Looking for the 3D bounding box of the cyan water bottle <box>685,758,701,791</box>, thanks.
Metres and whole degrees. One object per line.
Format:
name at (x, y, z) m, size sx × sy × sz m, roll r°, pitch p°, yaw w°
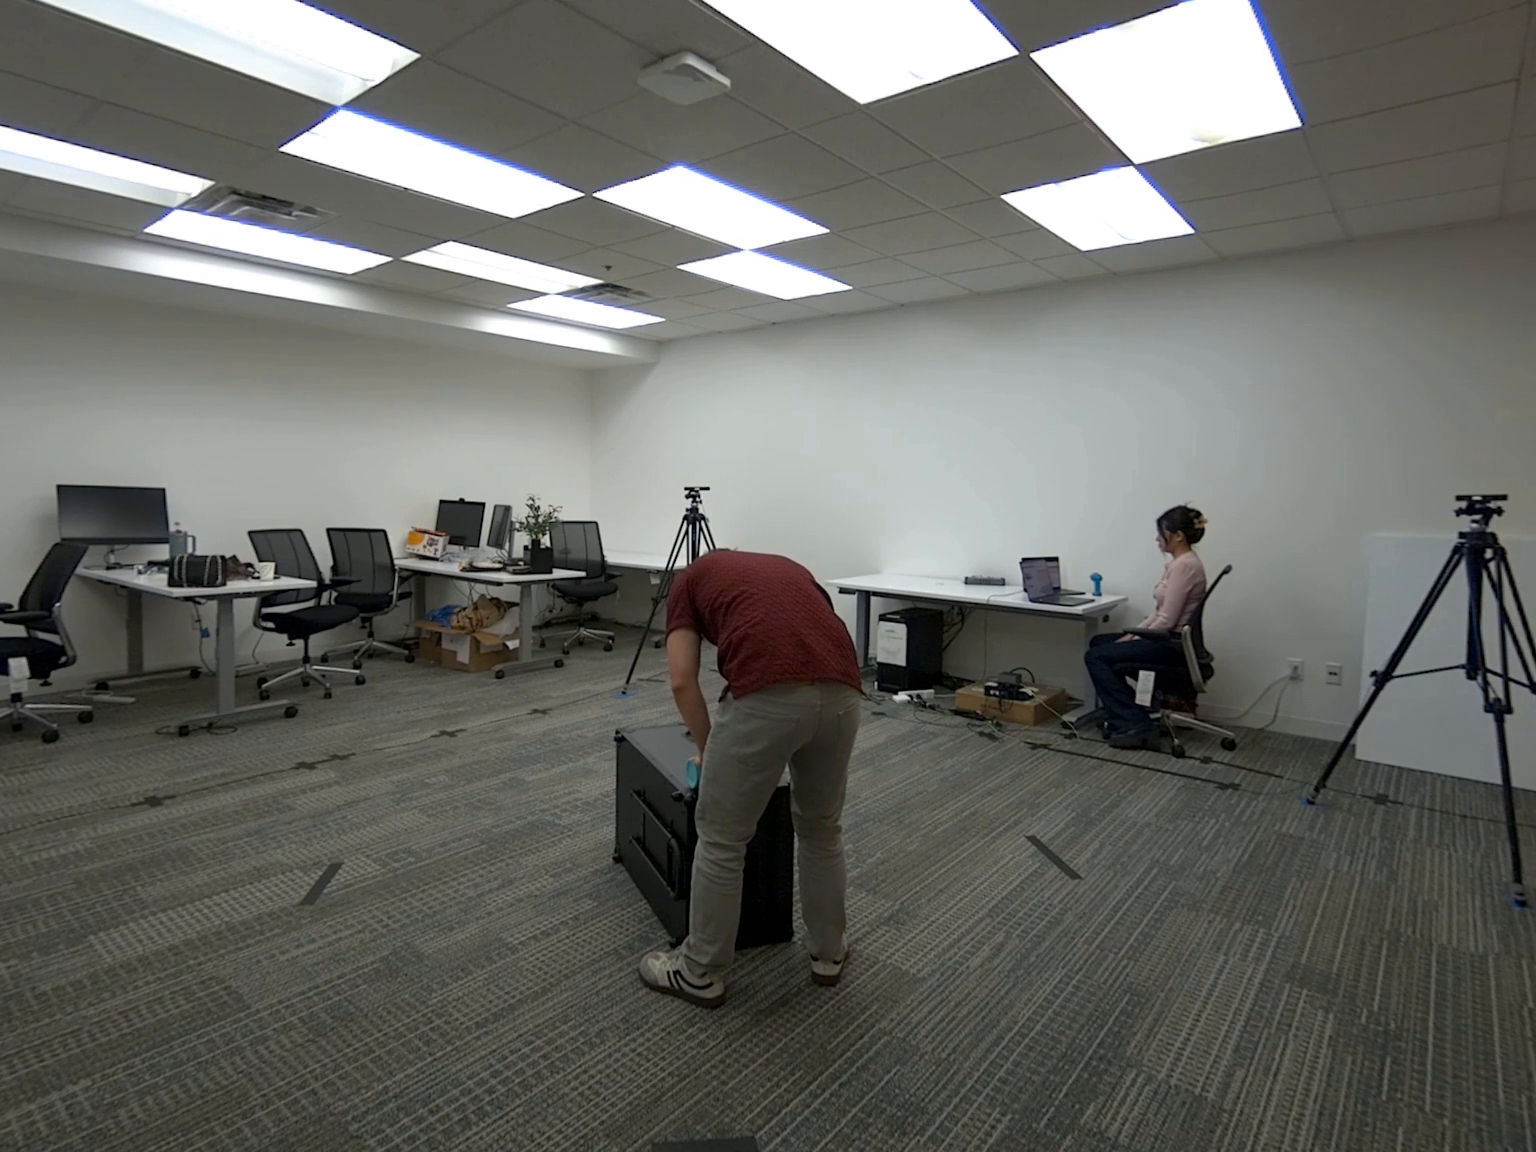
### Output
cyan water bottle at (-0.128, 0.582, 2.614) m, size 0.276 × 0.092 × 0.095 m, roll 2°, pitch 3°, yaw -26°
